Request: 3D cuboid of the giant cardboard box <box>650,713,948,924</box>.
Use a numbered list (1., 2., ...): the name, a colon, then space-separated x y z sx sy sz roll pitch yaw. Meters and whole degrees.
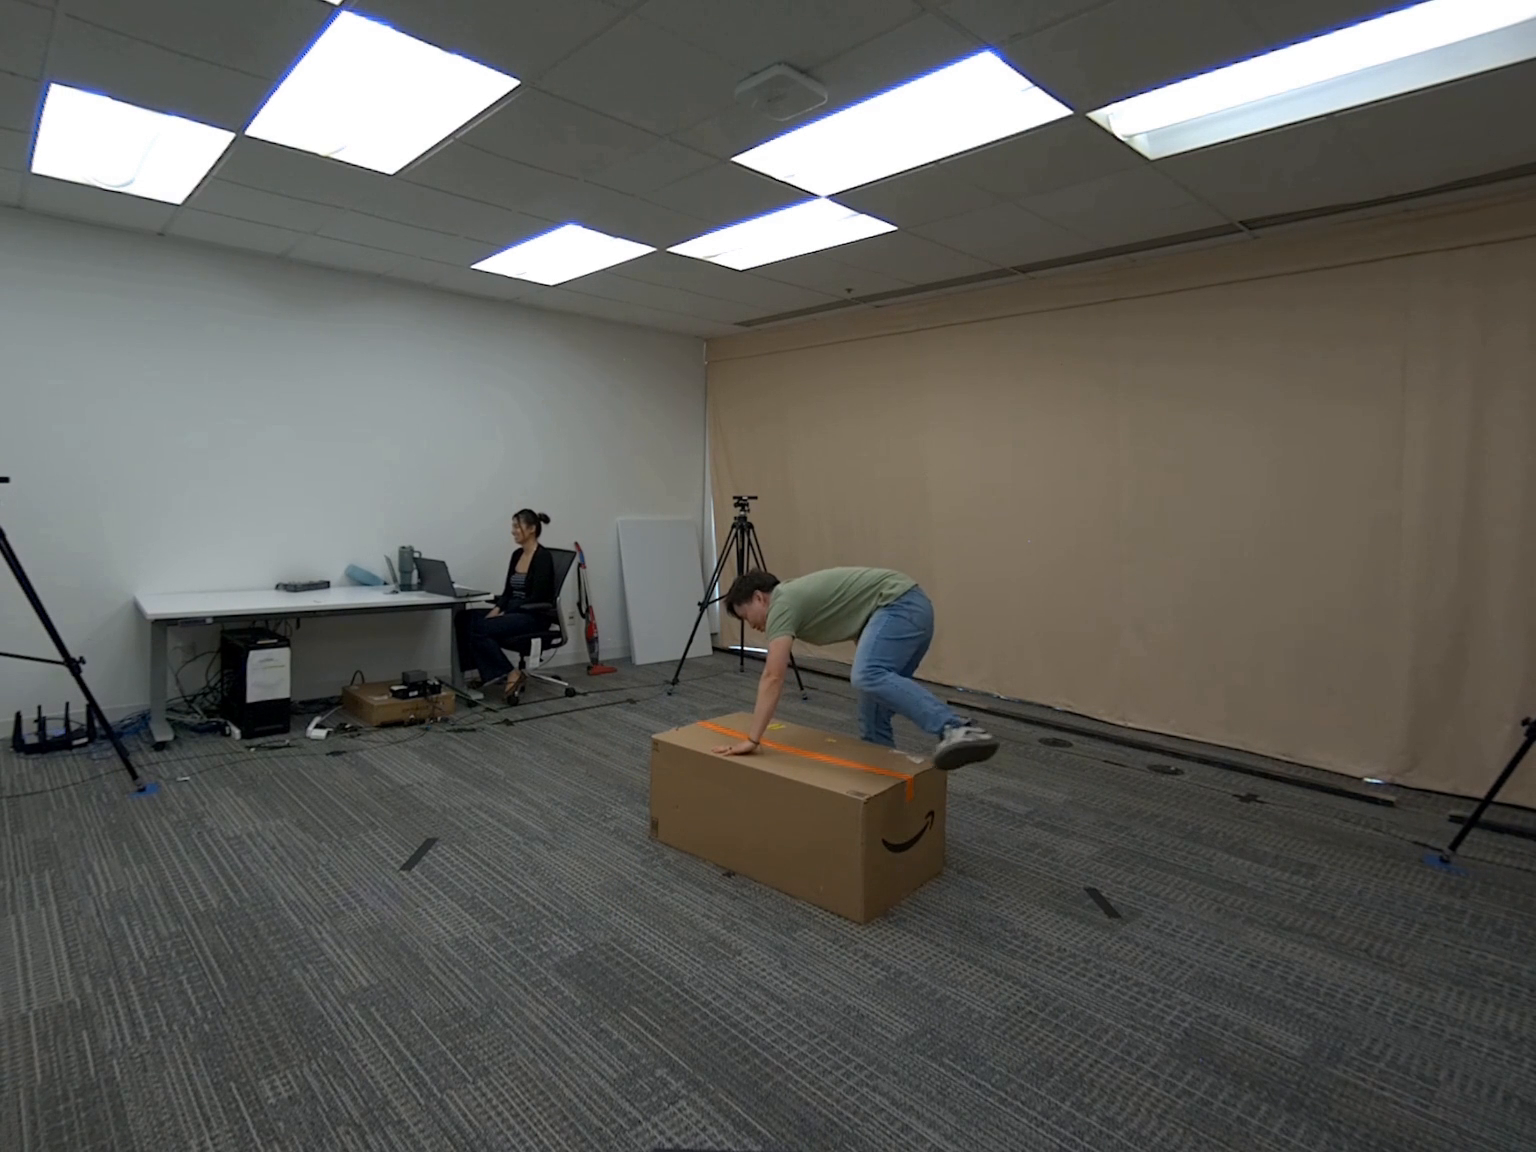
1. giant cardboard box: 0.089 0.880 3.286 1.052 0.425 0.564 5 5 40
